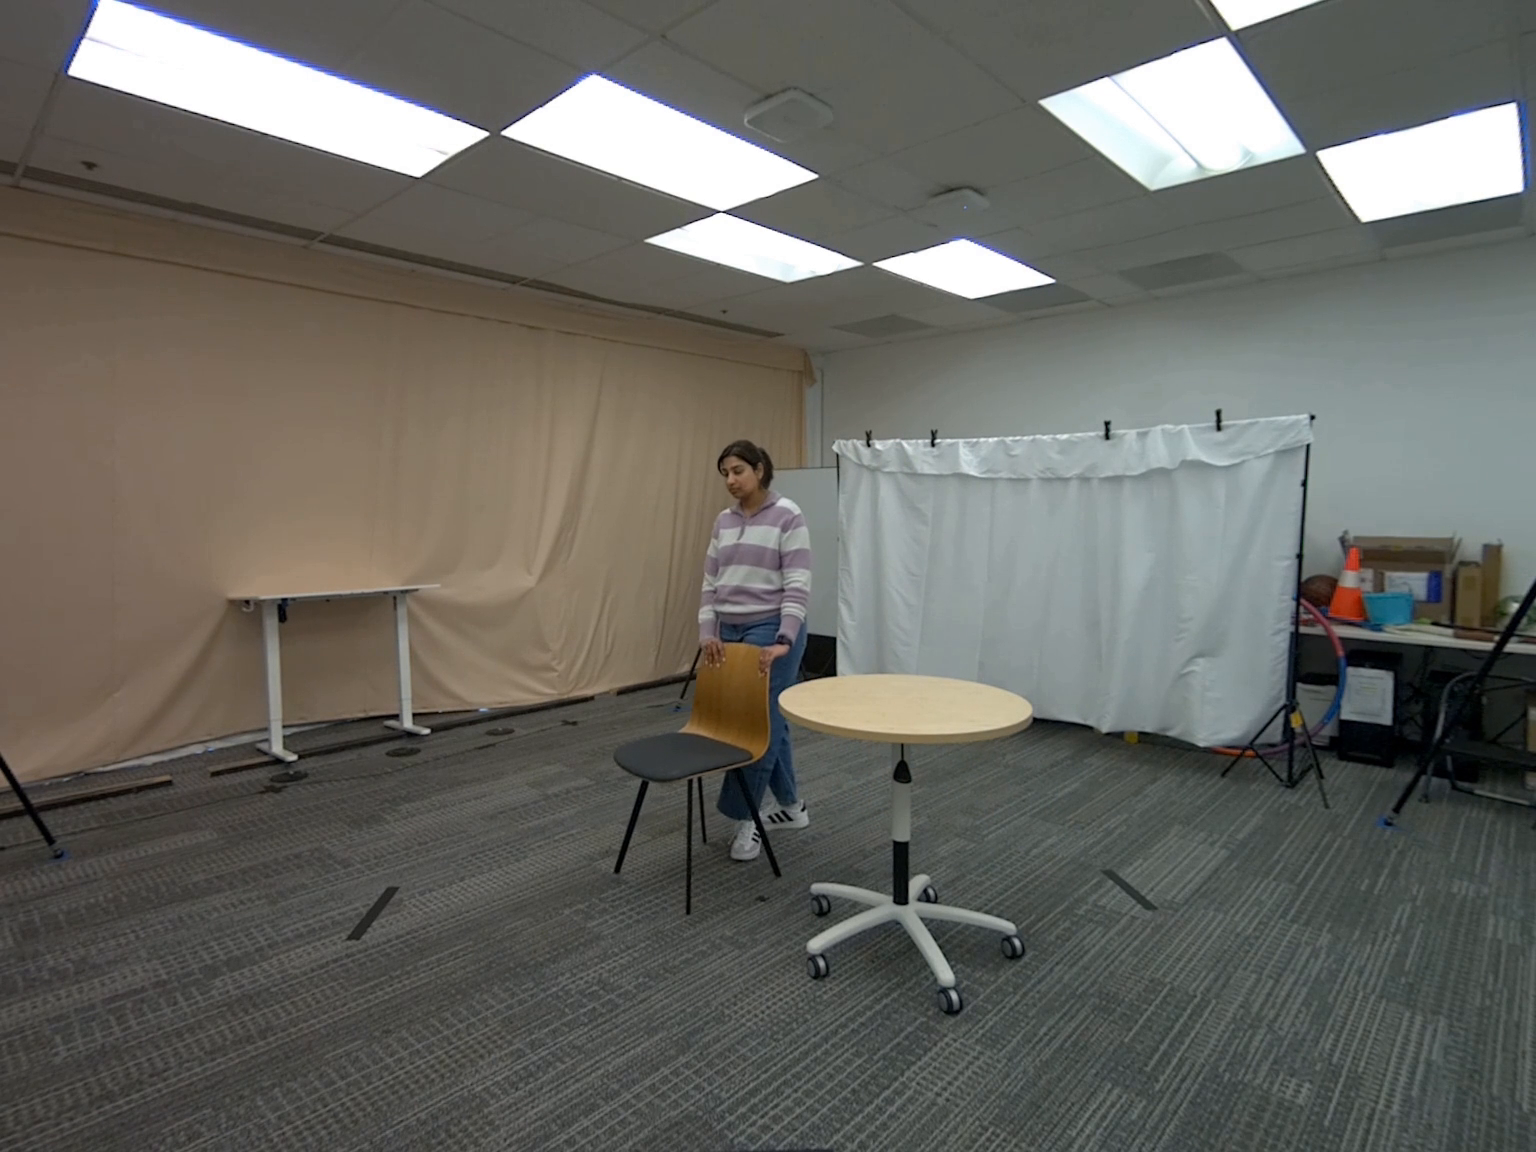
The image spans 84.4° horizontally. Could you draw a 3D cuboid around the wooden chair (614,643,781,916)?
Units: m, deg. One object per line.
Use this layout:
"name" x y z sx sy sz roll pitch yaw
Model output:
"wooden chair" -0.276 0.705 3.145 0.506 0.877 0.494 3 0 -42
